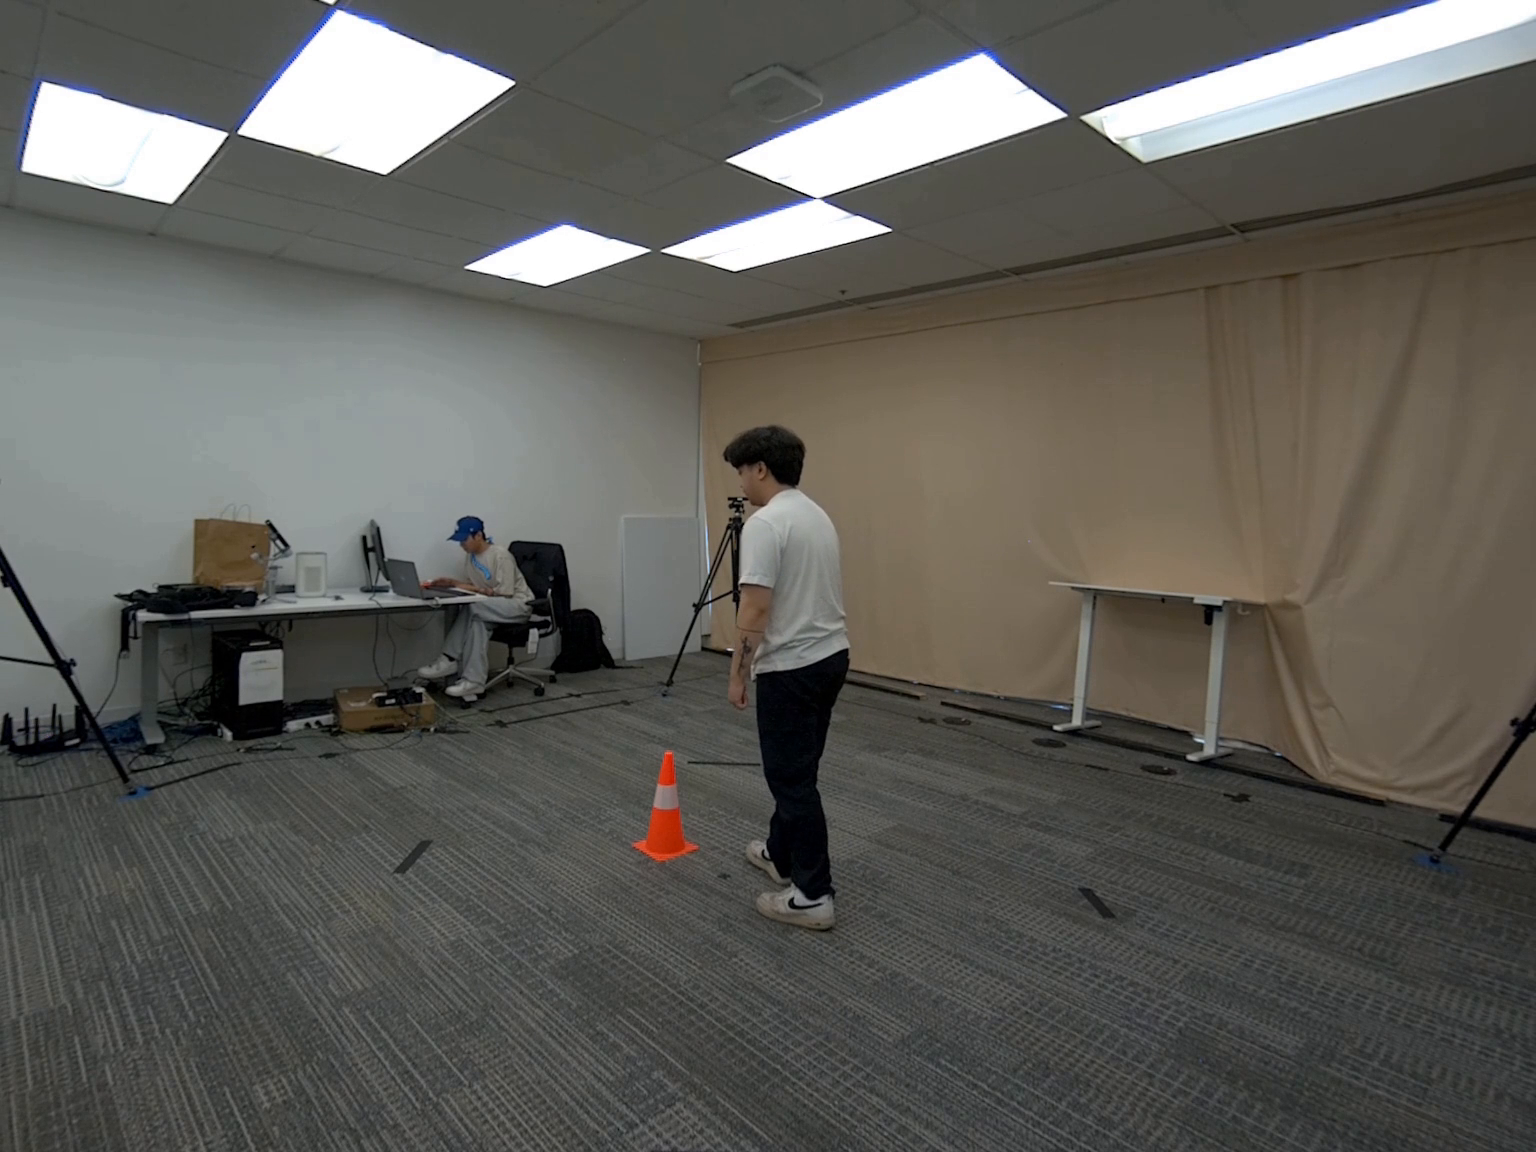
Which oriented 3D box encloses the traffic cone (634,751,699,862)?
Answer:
[{"bbox_3d":[-0.414,0.892,3.341,0.199,0.382,0.210,-2,5,-41],"label":"traffic cone"}]
